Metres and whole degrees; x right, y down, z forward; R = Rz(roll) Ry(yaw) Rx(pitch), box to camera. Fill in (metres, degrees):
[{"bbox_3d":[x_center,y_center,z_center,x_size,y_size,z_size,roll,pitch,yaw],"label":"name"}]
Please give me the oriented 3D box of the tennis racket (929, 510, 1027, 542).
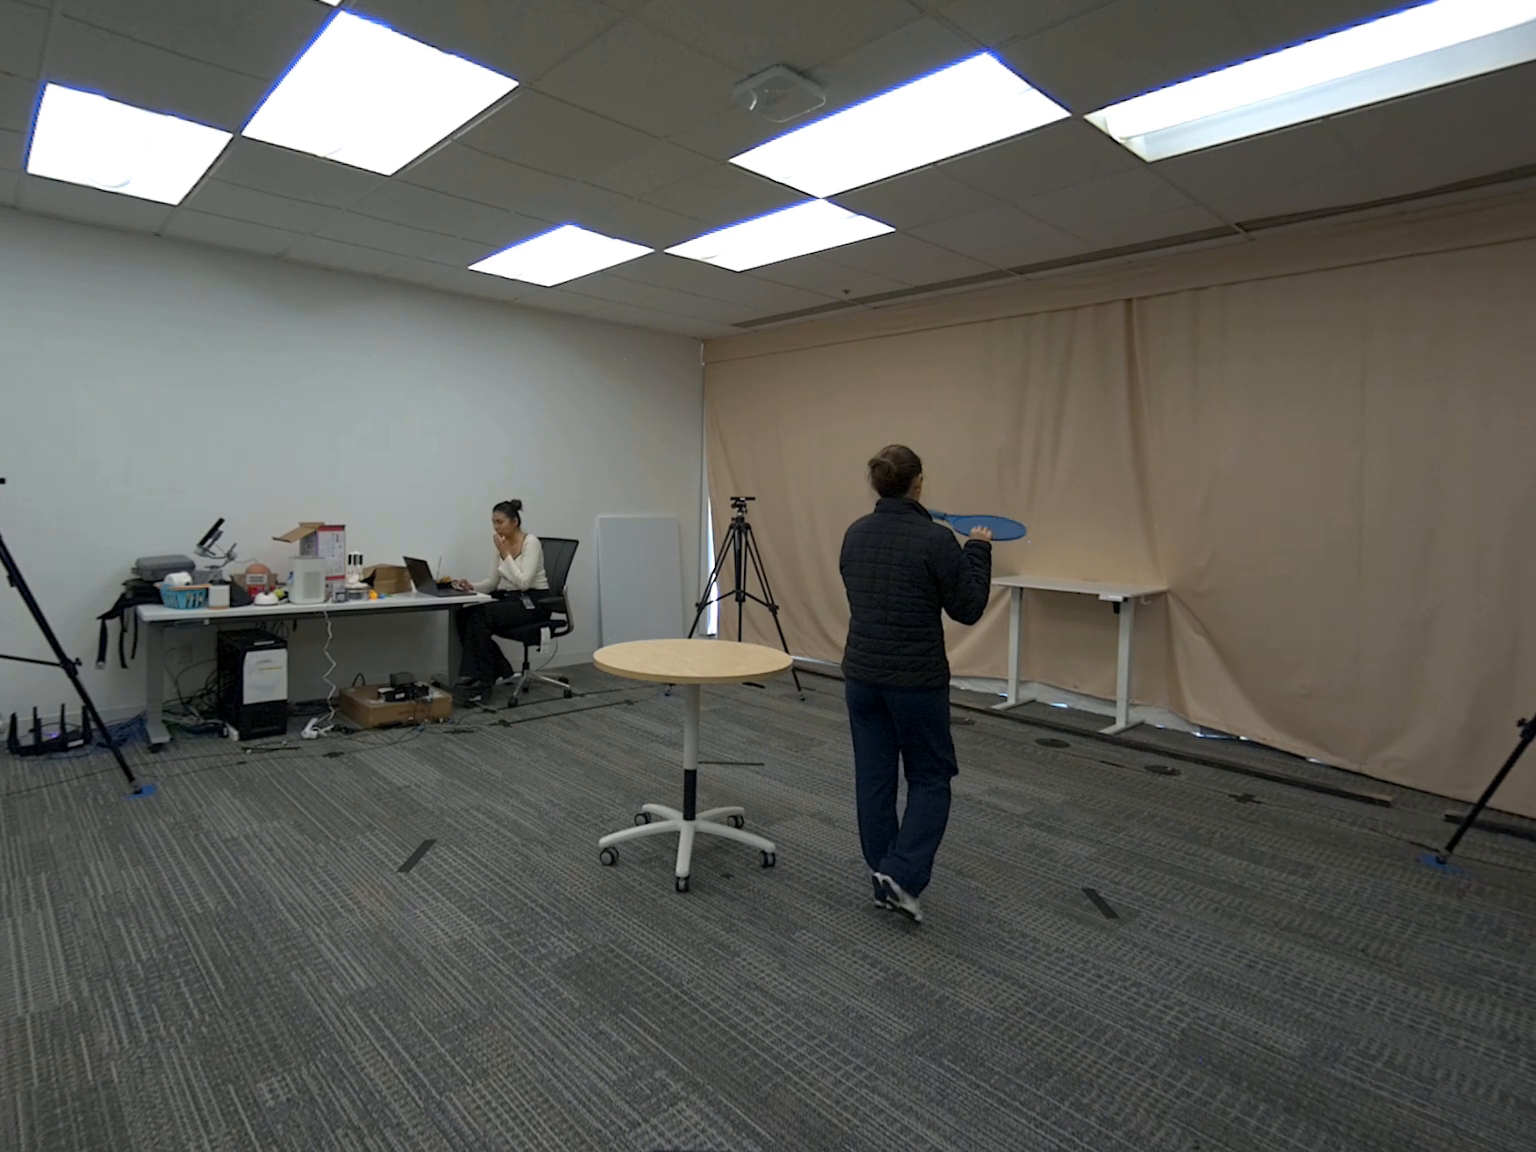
[{"bbox_3d":[0.711,-0.184,3.023,0.211,0.031,0.446,-21,29,-34],"label":"tennis racket"}]
